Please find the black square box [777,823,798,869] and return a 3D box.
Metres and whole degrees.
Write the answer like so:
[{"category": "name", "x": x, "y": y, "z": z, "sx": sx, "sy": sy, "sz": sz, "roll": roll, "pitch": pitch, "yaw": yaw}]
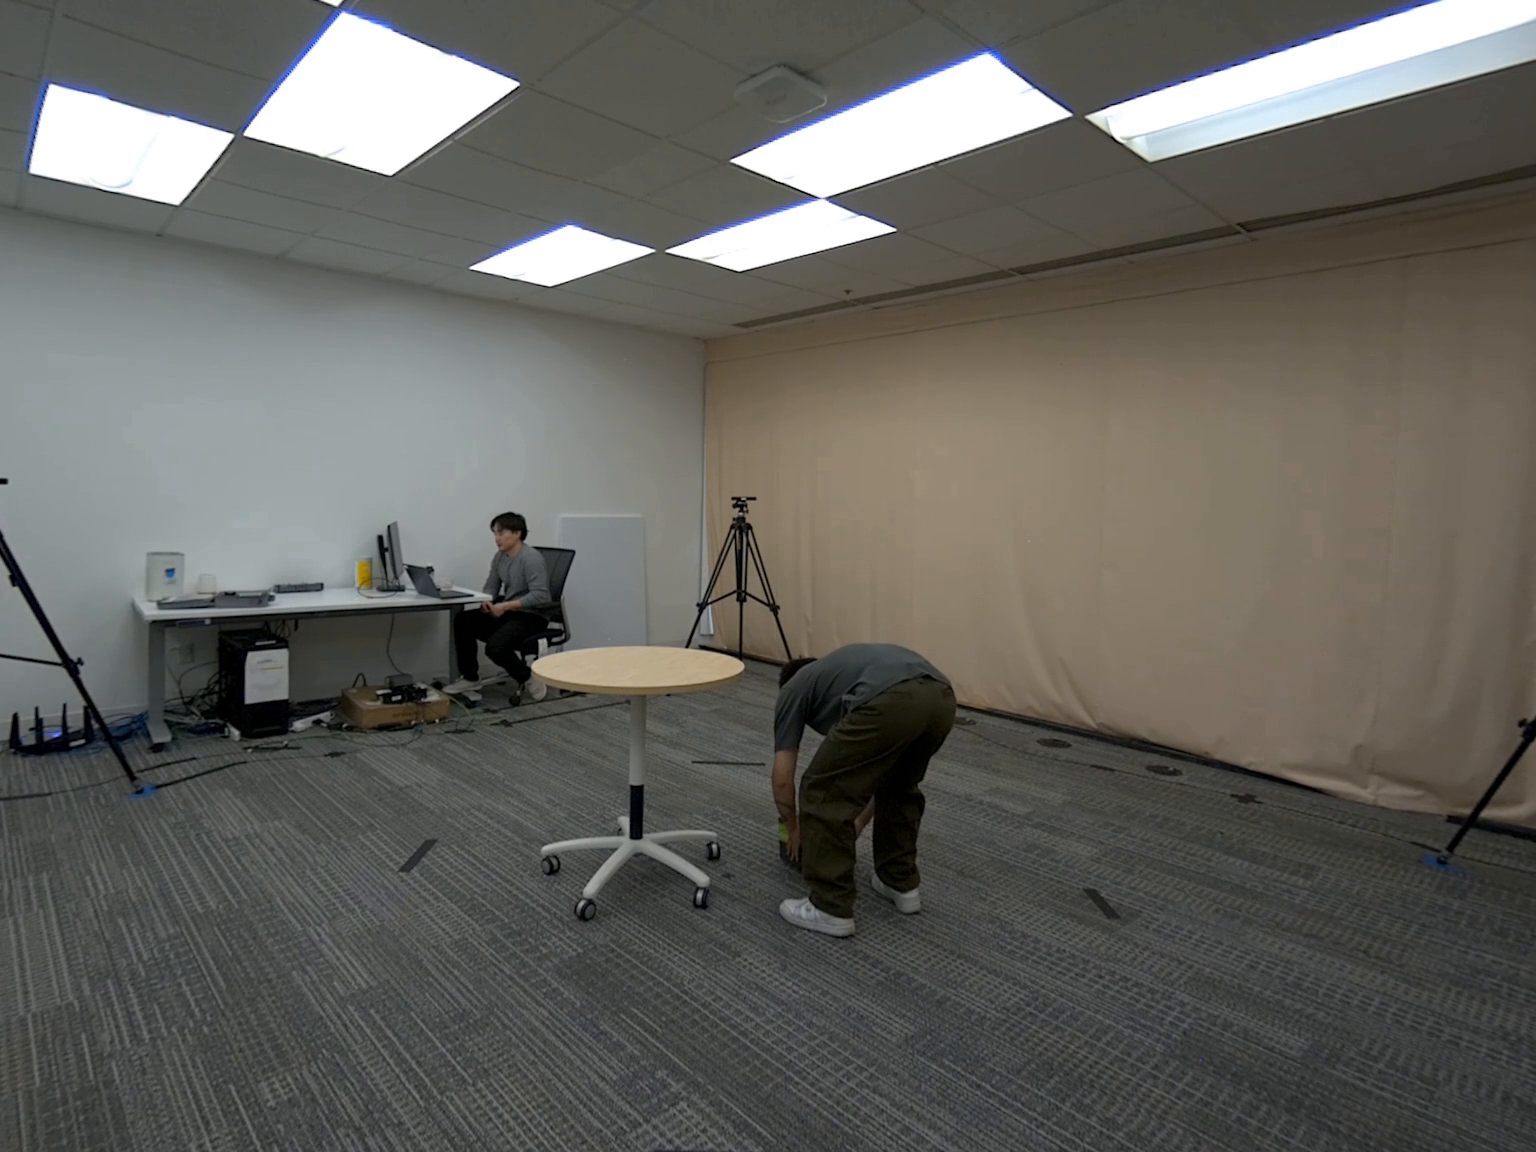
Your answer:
[{"category": "black square box", "x": 0.184, "y": 1.008, "z": 3.213, "sx": 0.213, "sy": 0.157, "sz": 0.231, "roll": 0, "pitch": -6, "yaw": -24}]
